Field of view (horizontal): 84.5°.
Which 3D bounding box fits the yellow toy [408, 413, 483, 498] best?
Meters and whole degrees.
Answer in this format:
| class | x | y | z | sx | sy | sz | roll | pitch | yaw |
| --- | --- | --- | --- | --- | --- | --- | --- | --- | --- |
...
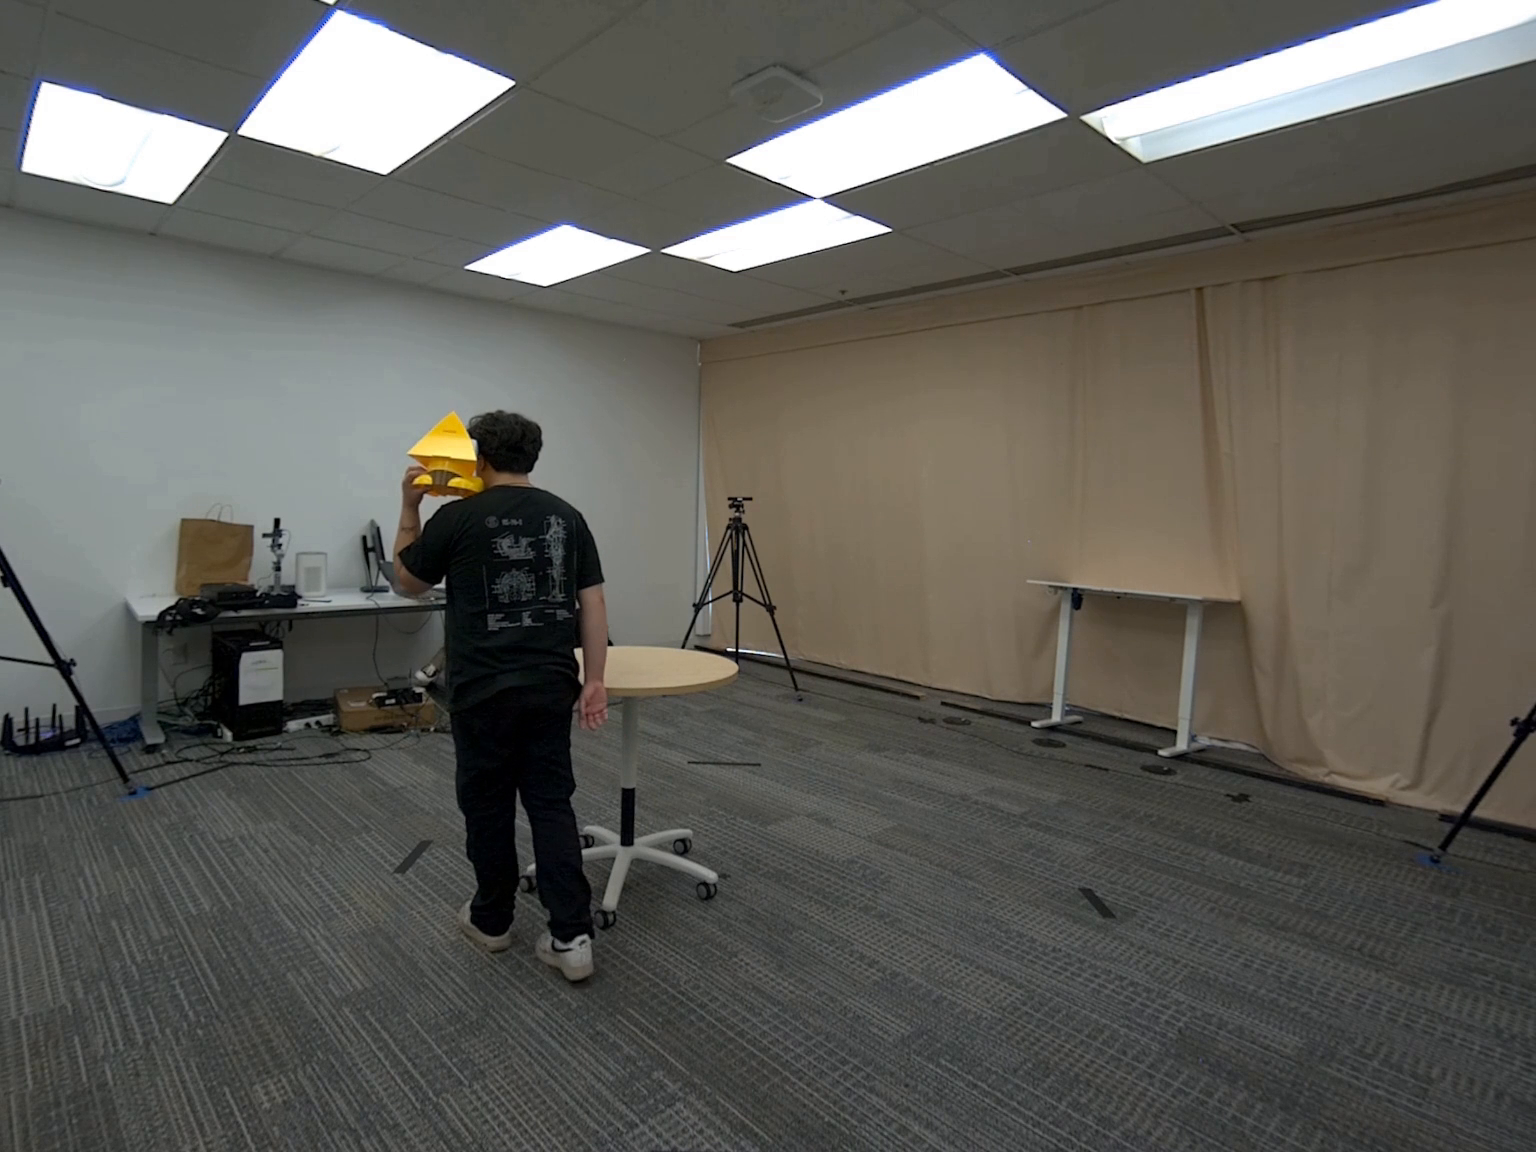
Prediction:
| class | x | y | z | sx | sy | sz | roll | pitch | yaw |
| --- | --- | --- | --- | --- | --- | --- | --- | --- | --- |
| yellow toy | -0.951 | -0.363 | 2.527 | 0.204 | 0.232 | 0.192 | 6 | -10 | -2 |
